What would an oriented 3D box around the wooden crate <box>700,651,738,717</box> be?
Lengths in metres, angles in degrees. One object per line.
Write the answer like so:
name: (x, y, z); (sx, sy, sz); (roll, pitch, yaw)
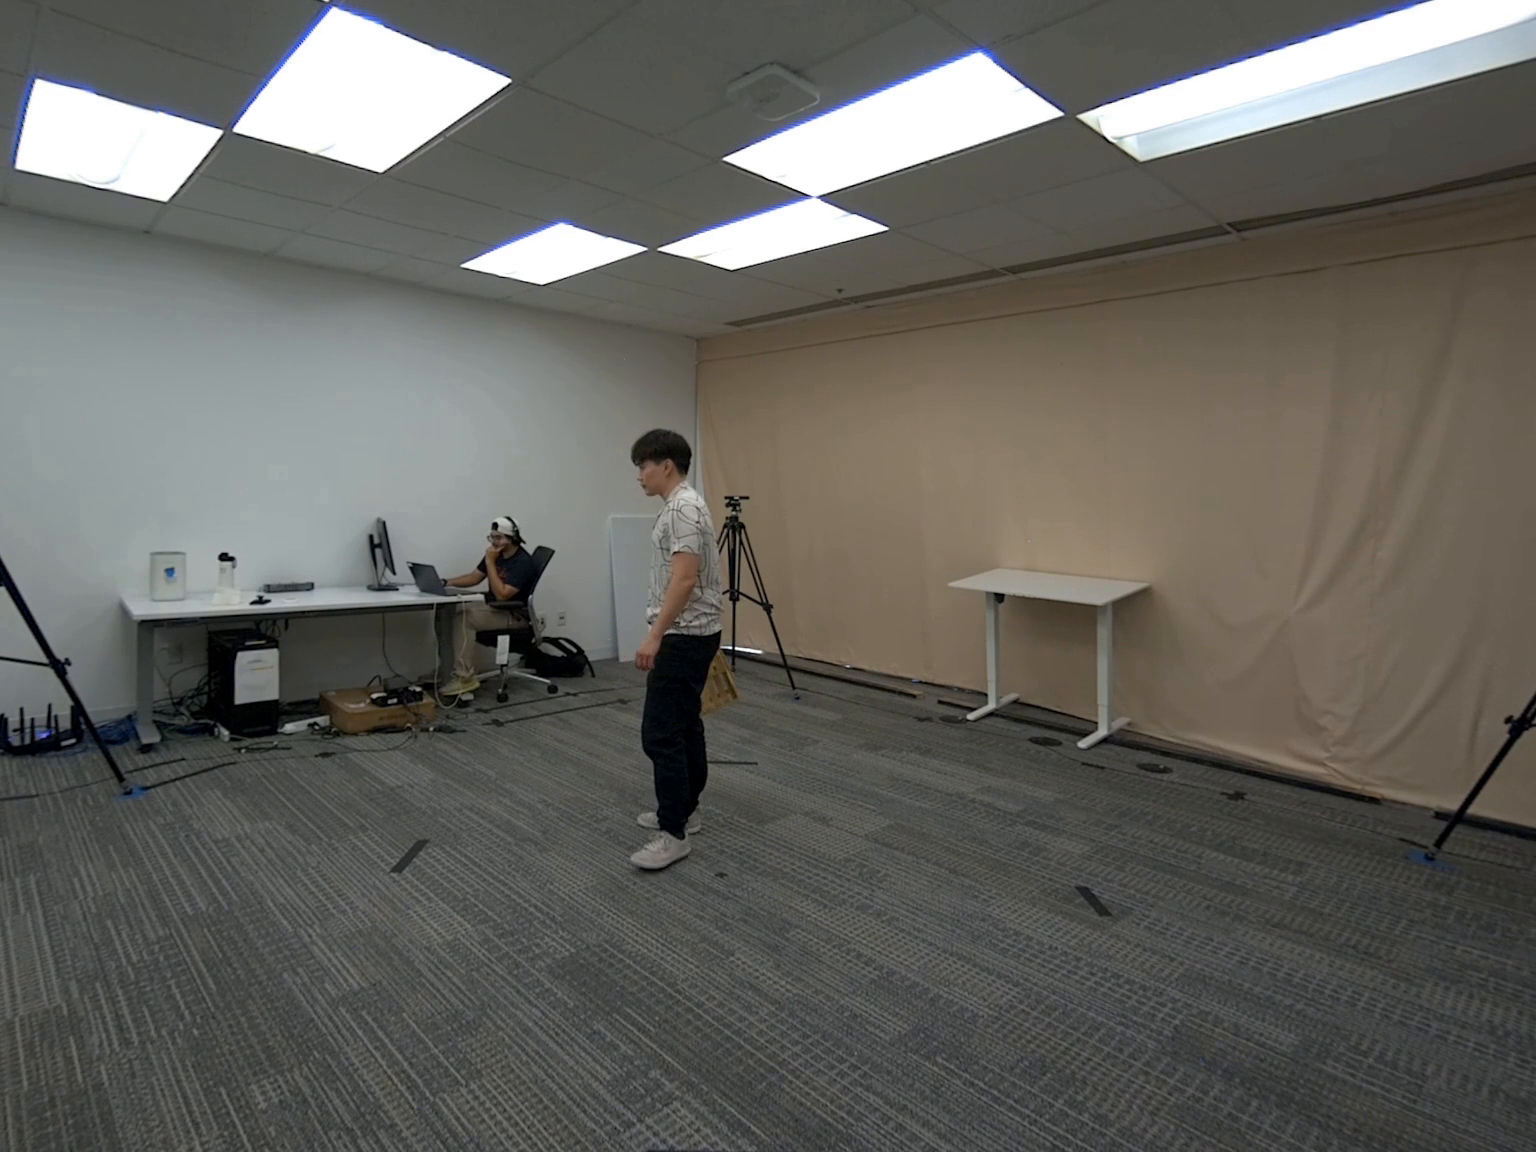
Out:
wooden crate: (-0.340, 0.457, 3.763); (0.324, 0.309, 0.267); (-24, -25, -4)
